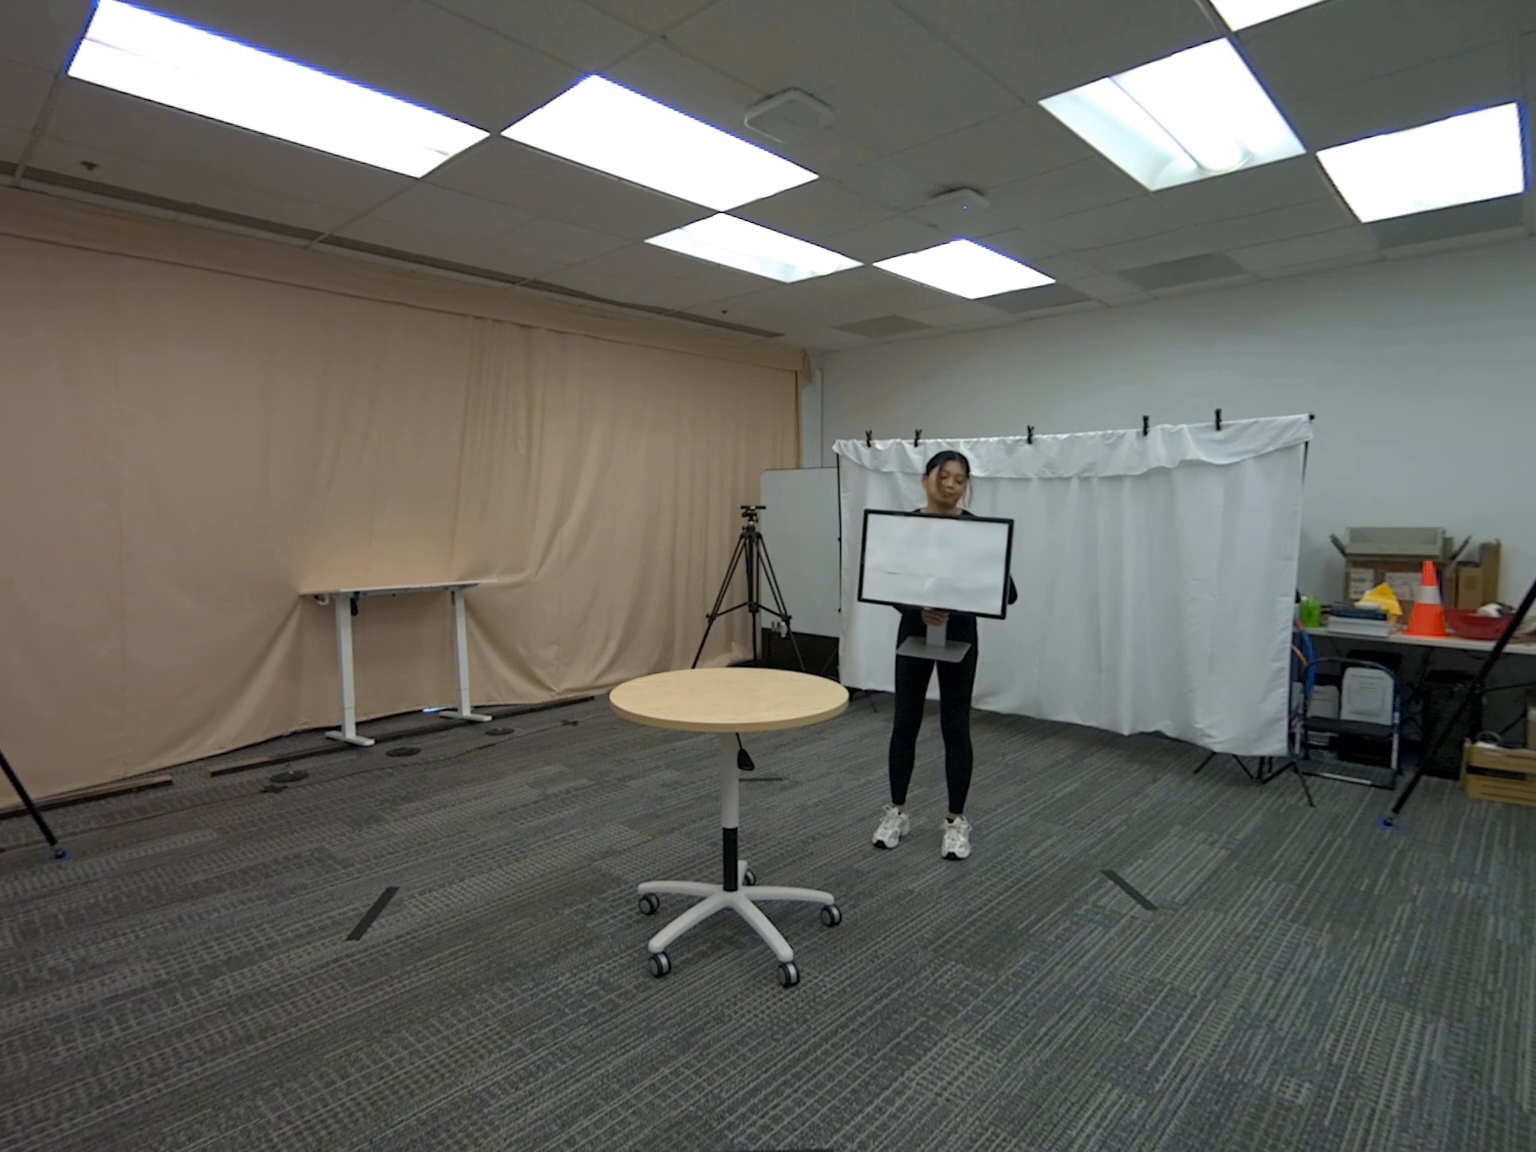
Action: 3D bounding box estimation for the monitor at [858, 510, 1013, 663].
[{"bbox_3d":[0.632,0.034,3.198,0.554,0.518,0.183,6,15,27],"label":"monitor"}]
